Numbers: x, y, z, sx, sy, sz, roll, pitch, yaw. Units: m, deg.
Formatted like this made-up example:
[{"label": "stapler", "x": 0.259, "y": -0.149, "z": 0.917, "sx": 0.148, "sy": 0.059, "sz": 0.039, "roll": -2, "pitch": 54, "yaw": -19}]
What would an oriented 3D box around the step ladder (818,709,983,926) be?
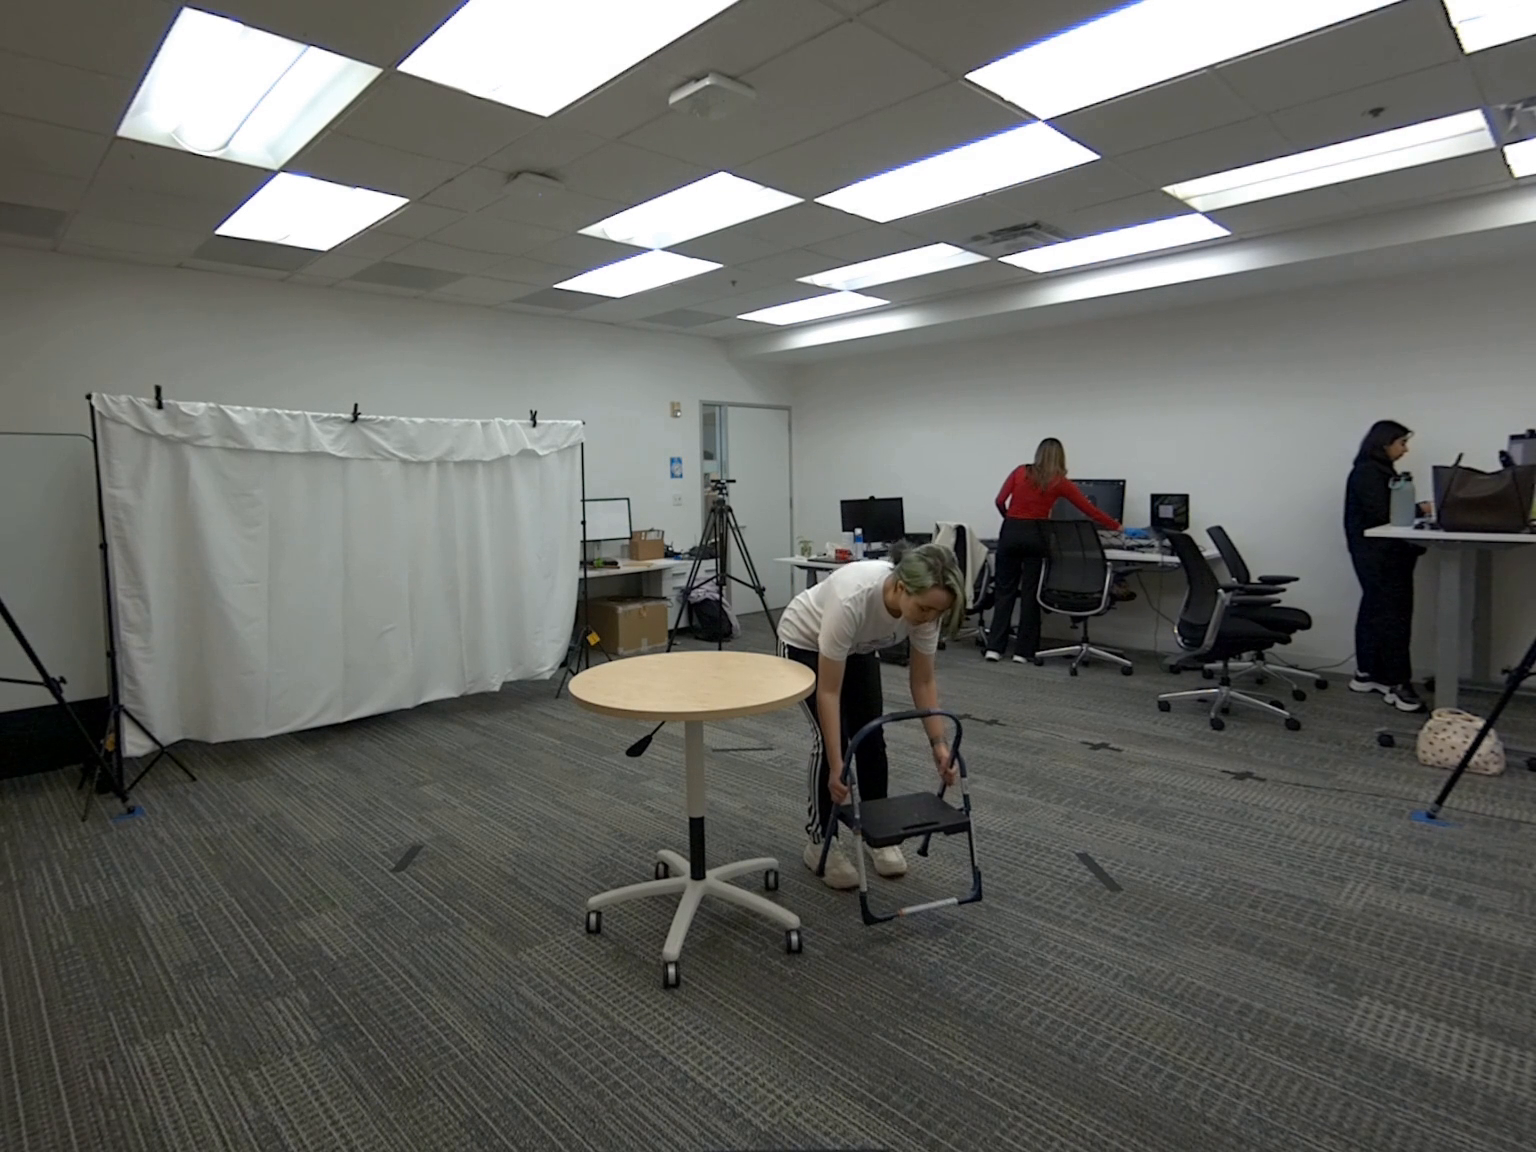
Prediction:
[{"label": "step ladder", "x": 0.422, "y": 0.704, "z": 2.706, "sx": 0.423, "sy": 0.602, "sz": 0.358, "roll": -3, "pitch": 9, "yaw": -22}]
